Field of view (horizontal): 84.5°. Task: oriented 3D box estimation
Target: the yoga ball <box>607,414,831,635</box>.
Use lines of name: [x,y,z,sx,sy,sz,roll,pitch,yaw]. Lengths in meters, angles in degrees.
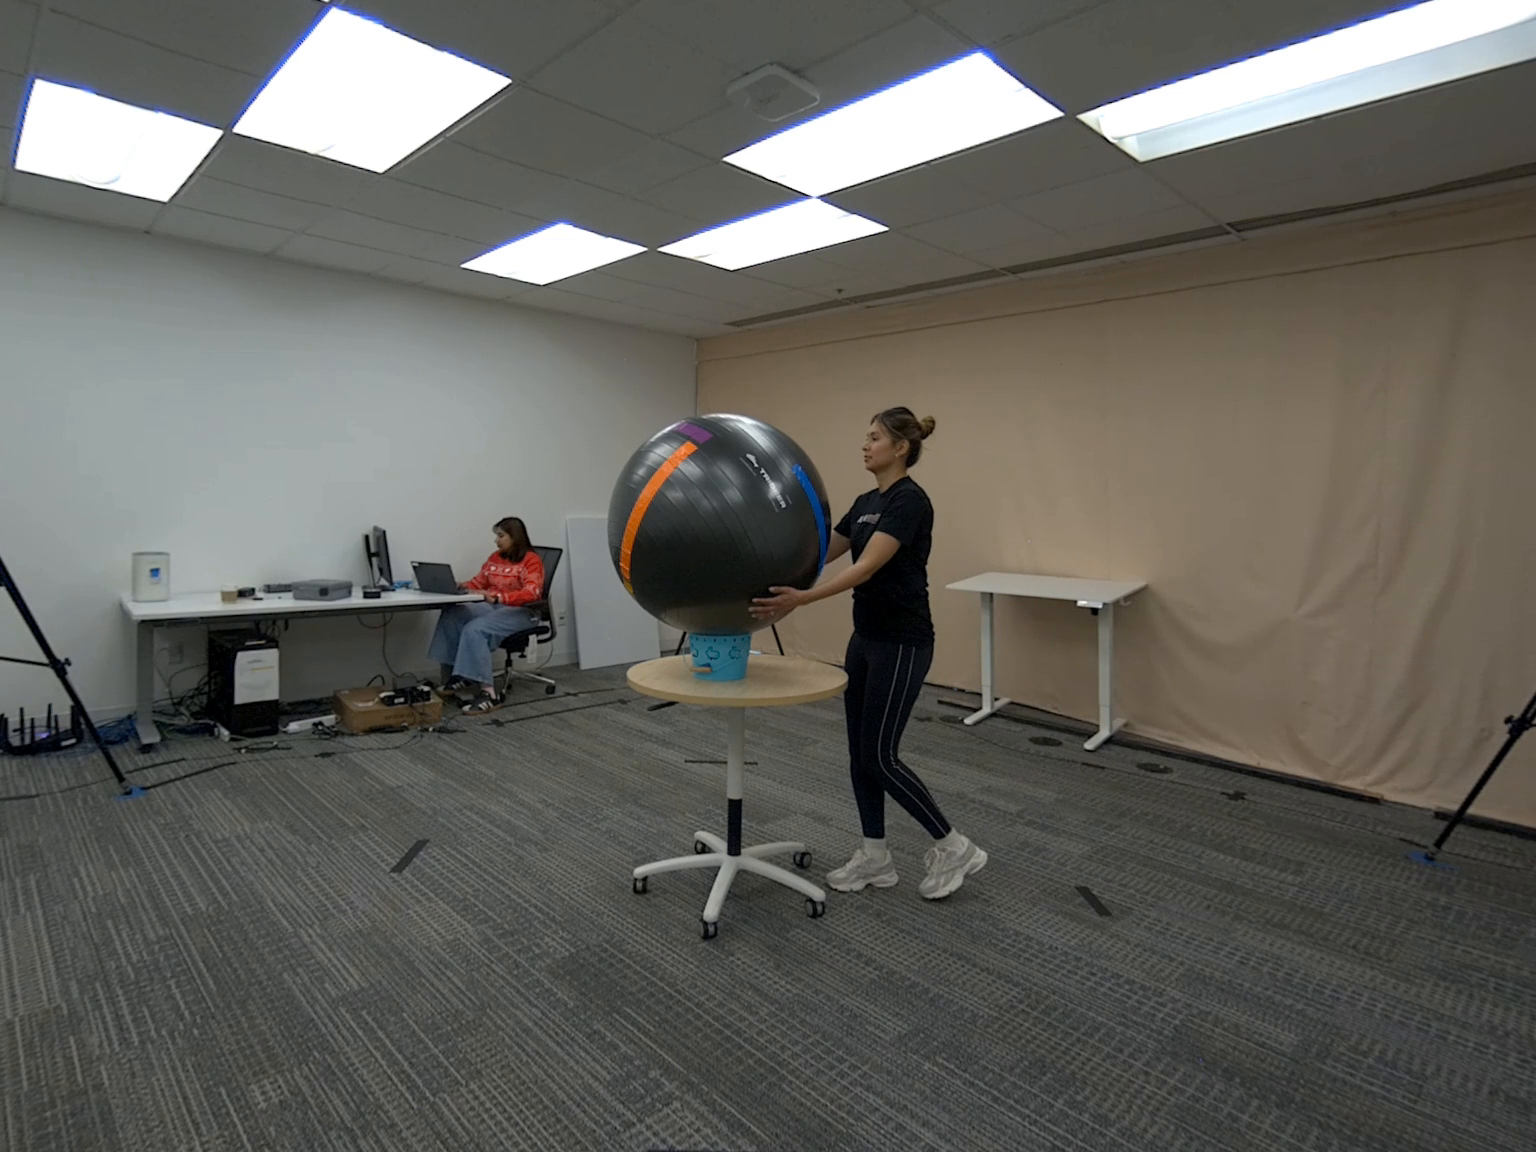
yoga ball: [-0.166,-0.166,2.856,0.757,0.756,0.761,1,4,-1]
